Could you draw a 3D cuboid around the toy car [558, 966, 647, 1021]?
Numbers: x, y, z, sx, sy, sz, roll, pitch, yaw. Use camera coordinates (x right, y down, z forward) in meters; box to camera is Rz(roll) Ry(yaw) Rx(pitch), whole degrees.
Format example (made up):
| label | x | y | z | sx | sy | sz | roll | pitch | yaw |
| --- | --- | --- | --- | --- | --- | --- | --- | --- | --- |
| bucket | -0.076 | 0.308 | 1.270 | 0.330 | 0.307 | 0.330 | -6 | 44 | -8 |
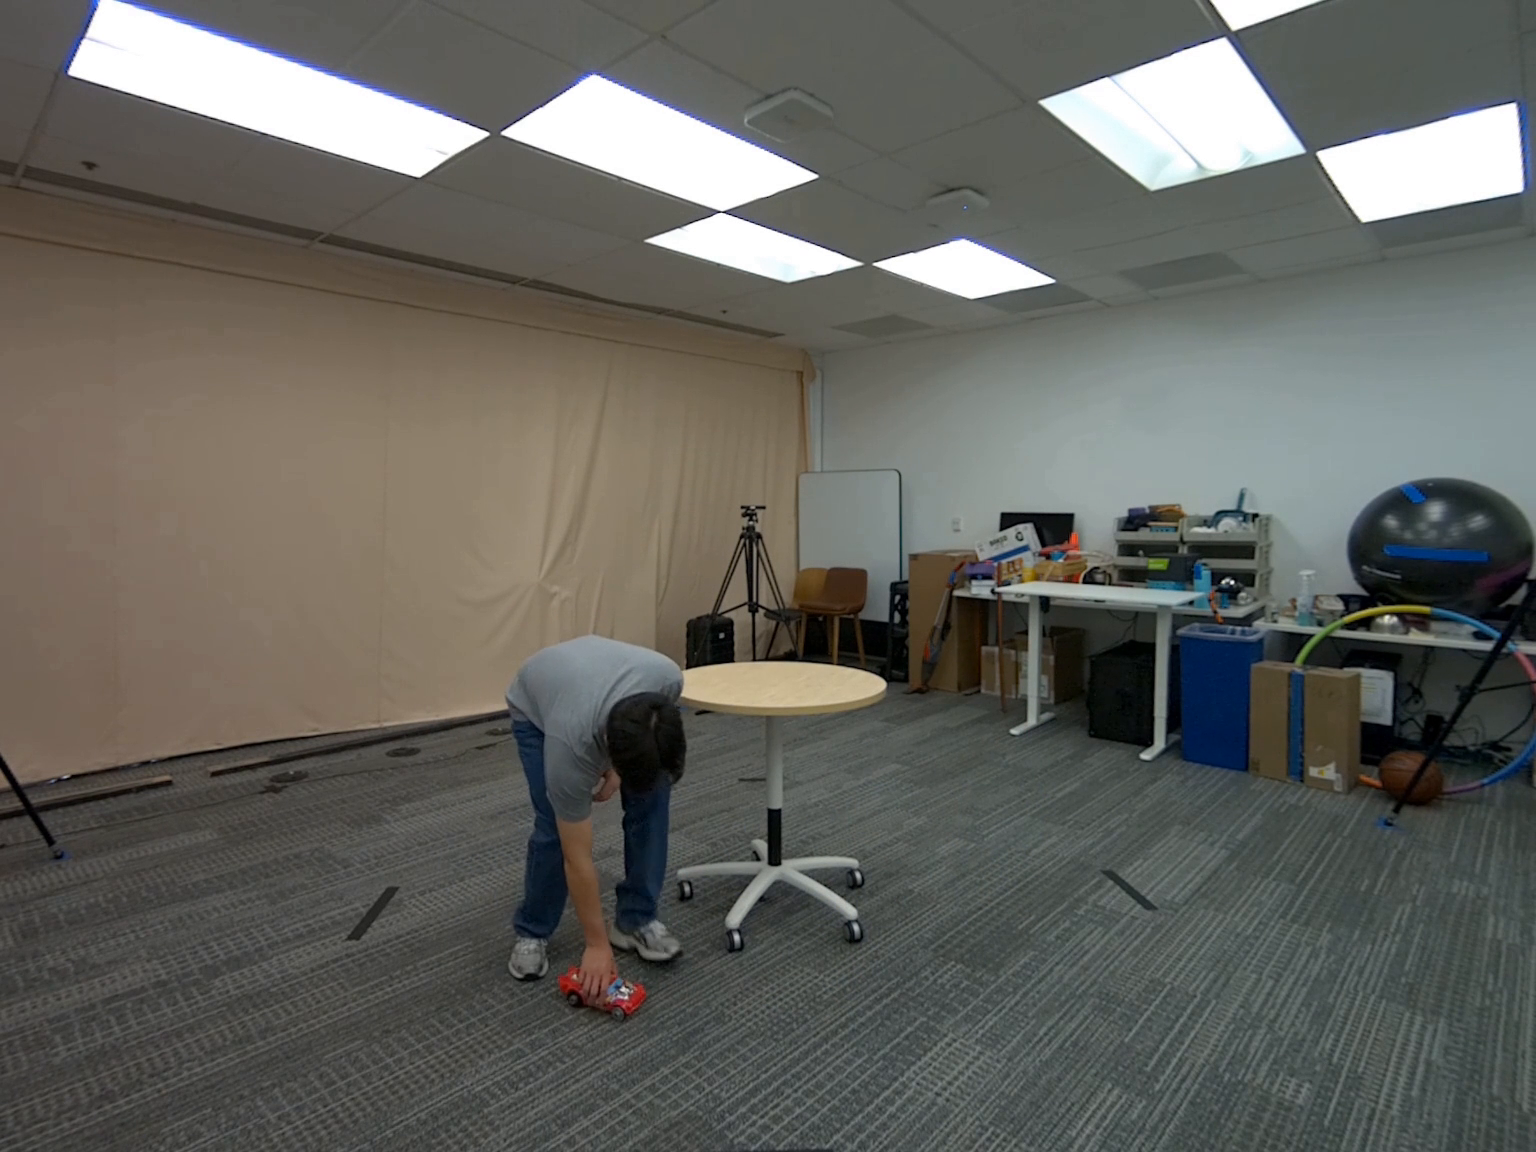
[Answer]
| label | x | y | z | sx | sy | sz | roll | pitch | yaw |
| --- | --- | --- | --- | --- | --- | --- | --- | --- | --- |
| toy car | -0.466 | 1.166 | 2.365 | 0.262 | 0.083 | 0.127 | 14 | 12 | 27 |
